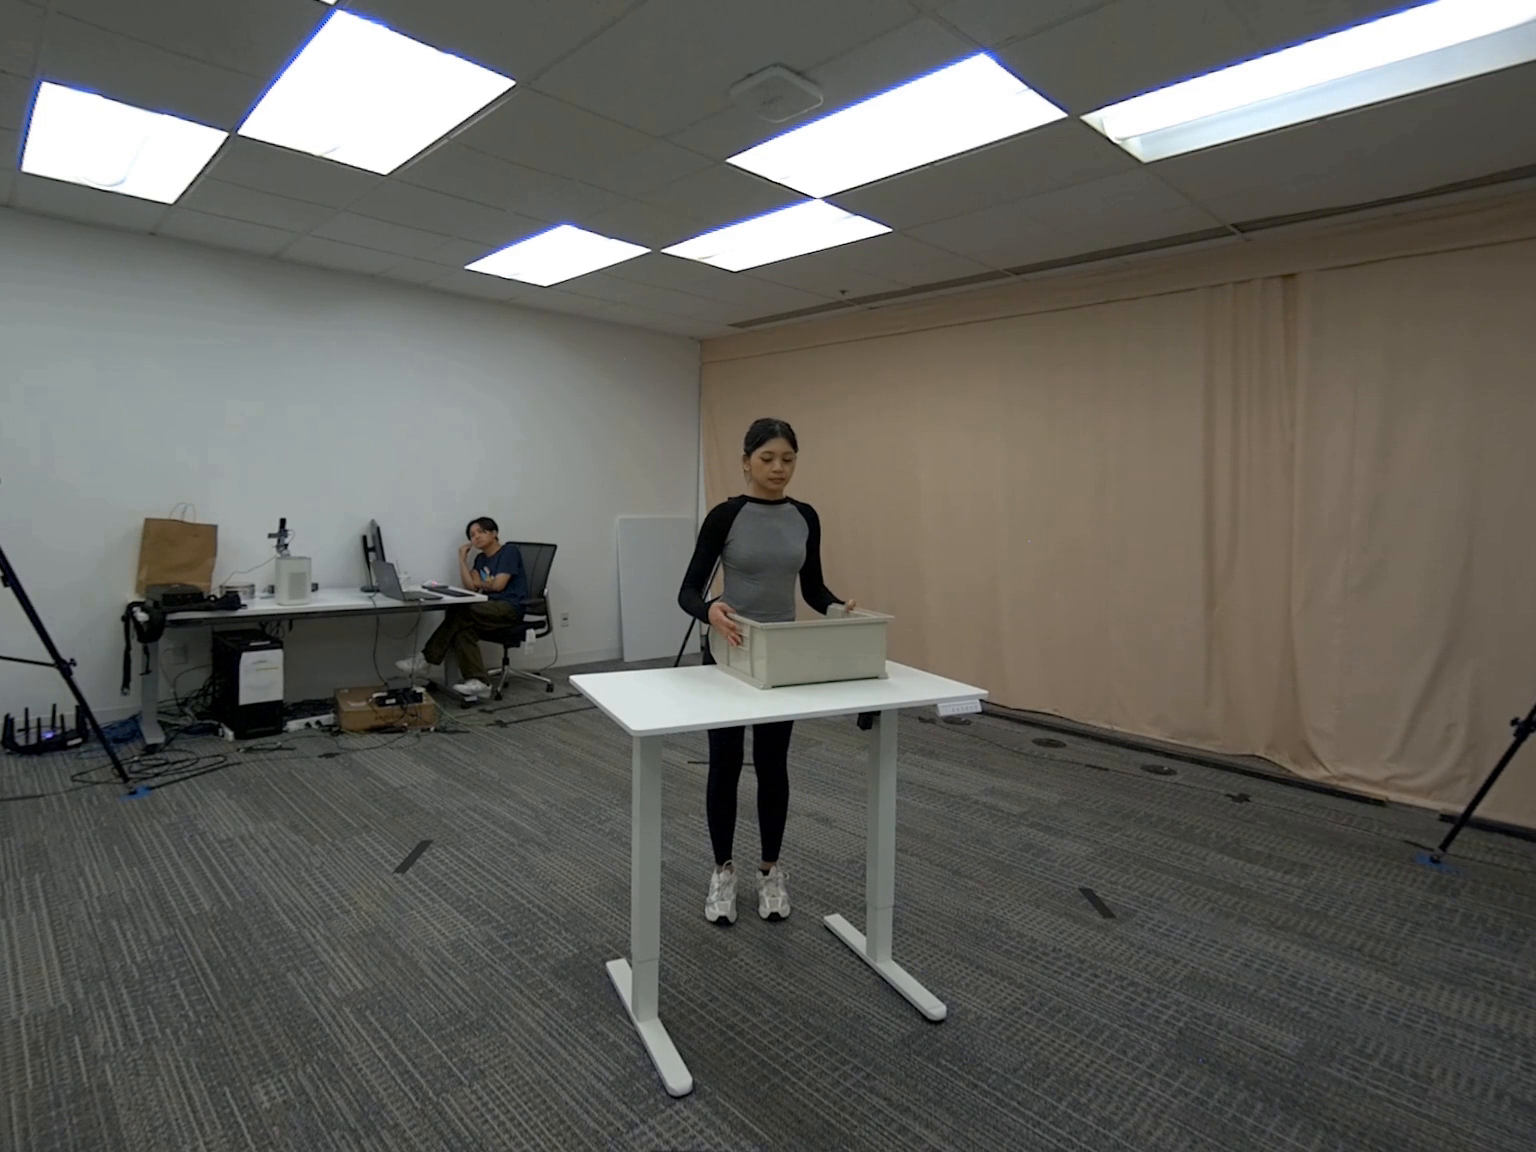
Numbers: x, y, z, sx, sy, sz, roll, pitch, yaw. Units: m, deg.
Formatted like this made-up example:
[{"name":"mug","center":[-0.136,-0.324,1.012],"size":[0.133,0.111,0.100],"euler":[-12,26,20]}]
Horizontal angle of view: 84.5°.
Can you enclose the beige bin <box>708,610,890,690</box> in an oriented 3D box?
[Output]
[{"name":"beige bin","center":[0.081,0.195,2.494],"size":[0.415,0.188,0.386],"euler":[-1,8,-25]}]
